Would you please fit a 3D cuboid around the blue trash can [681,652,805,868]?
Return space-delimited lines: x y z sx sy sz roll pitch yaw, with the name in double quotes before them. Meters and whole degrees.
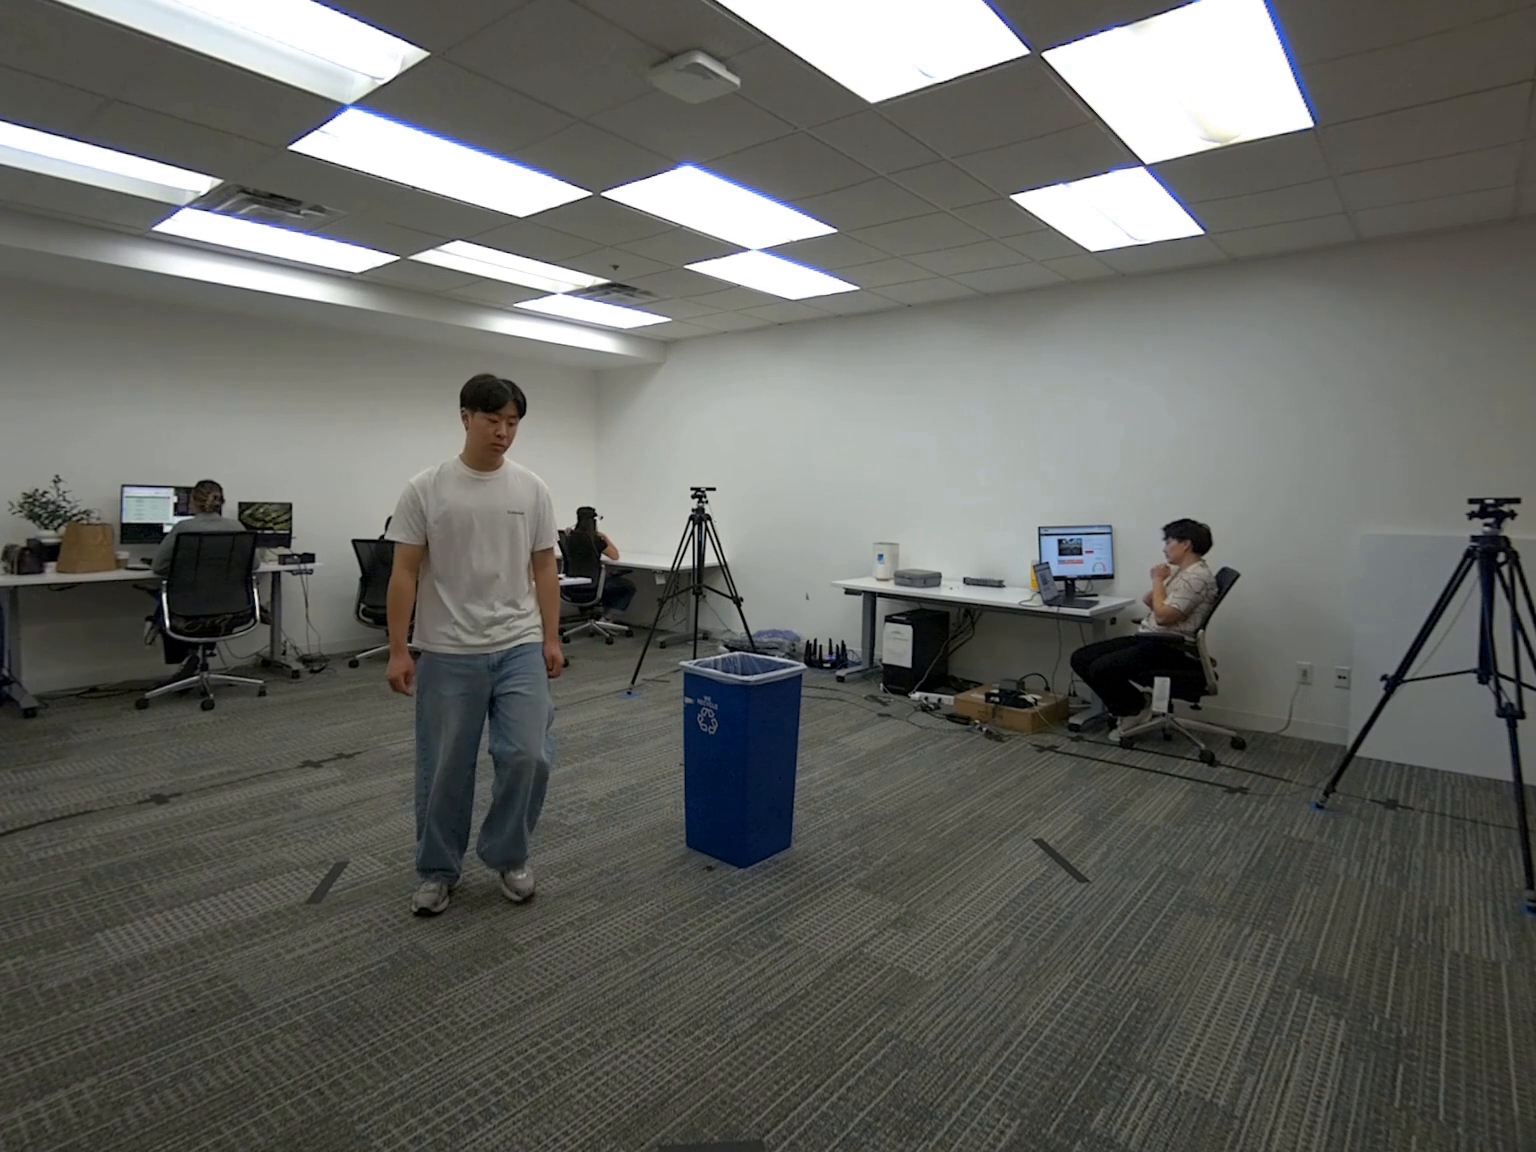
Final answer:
"blue trash can" -0.108 0.691 3.293 0.386 0.711 0.367 4 4 40
